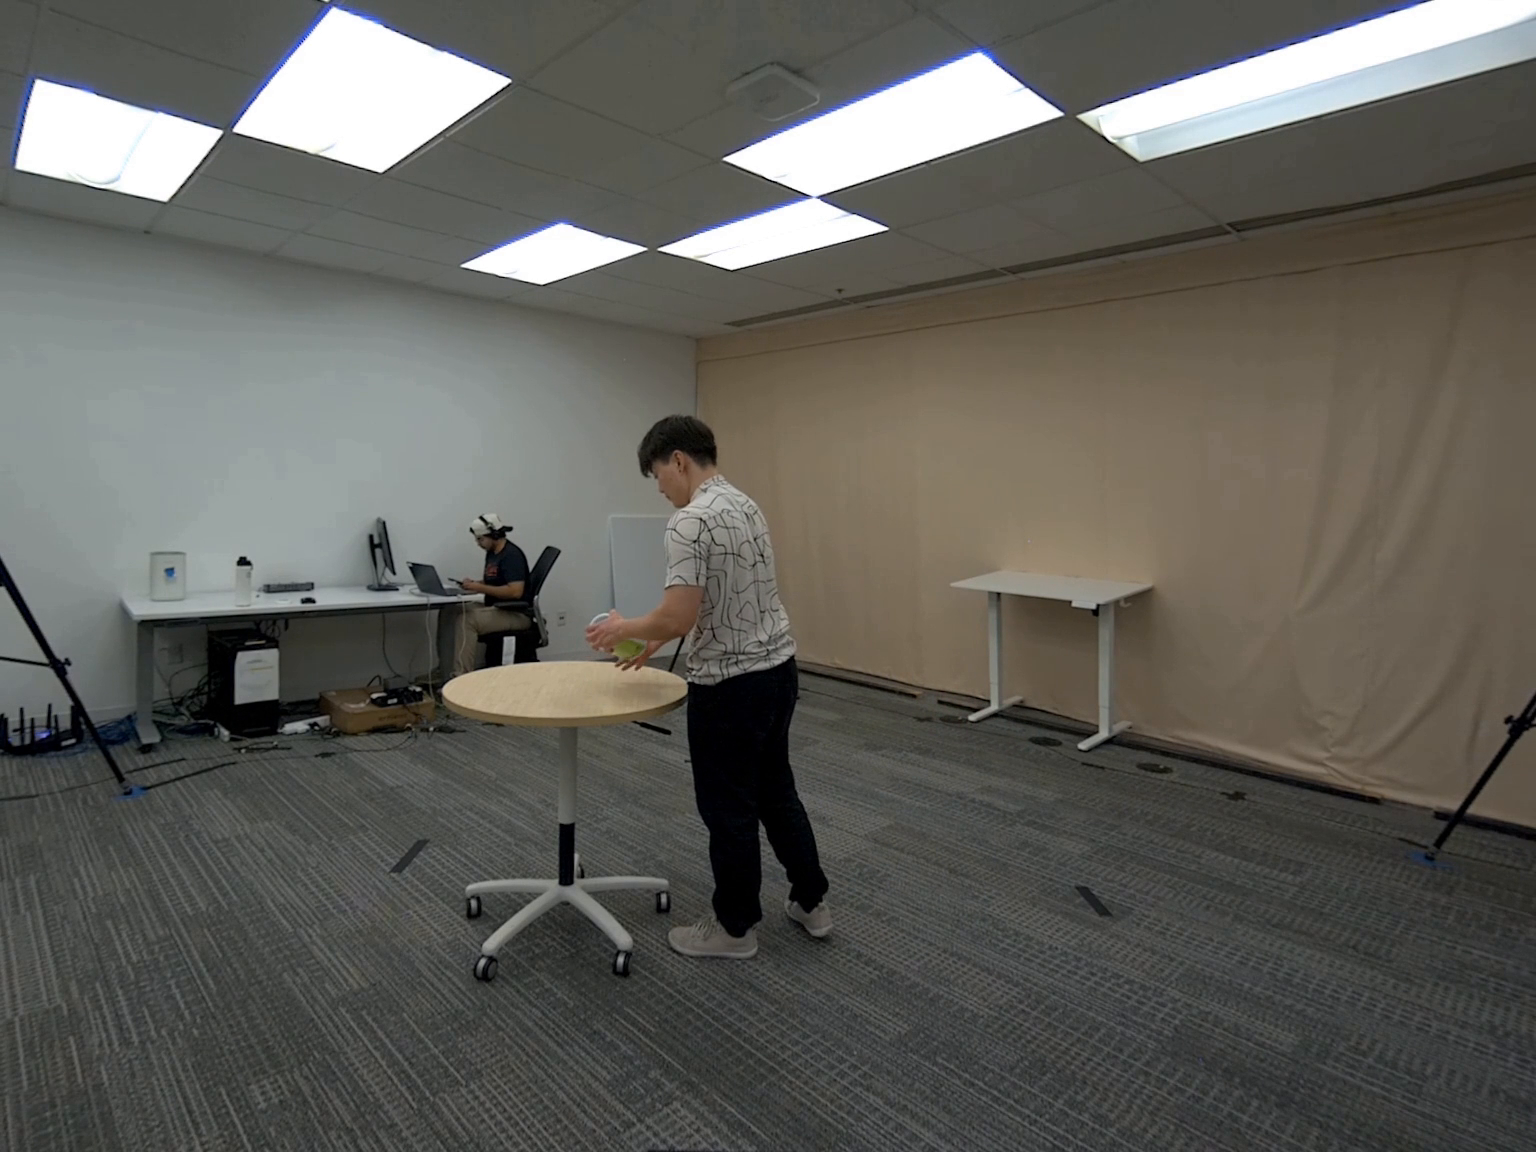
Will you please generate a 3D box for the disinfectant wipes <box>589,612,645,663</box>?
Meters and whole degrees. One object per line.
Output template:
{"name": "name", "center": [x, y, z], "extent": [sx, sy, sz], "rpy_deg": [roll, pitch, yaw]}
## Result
{"name": "disinfectant wipes", "center": [-0.466, 0.196, 2.620], "extent": [0.120, 0.119, 0.211], "rpy_deg": [3, -25, 20]}
